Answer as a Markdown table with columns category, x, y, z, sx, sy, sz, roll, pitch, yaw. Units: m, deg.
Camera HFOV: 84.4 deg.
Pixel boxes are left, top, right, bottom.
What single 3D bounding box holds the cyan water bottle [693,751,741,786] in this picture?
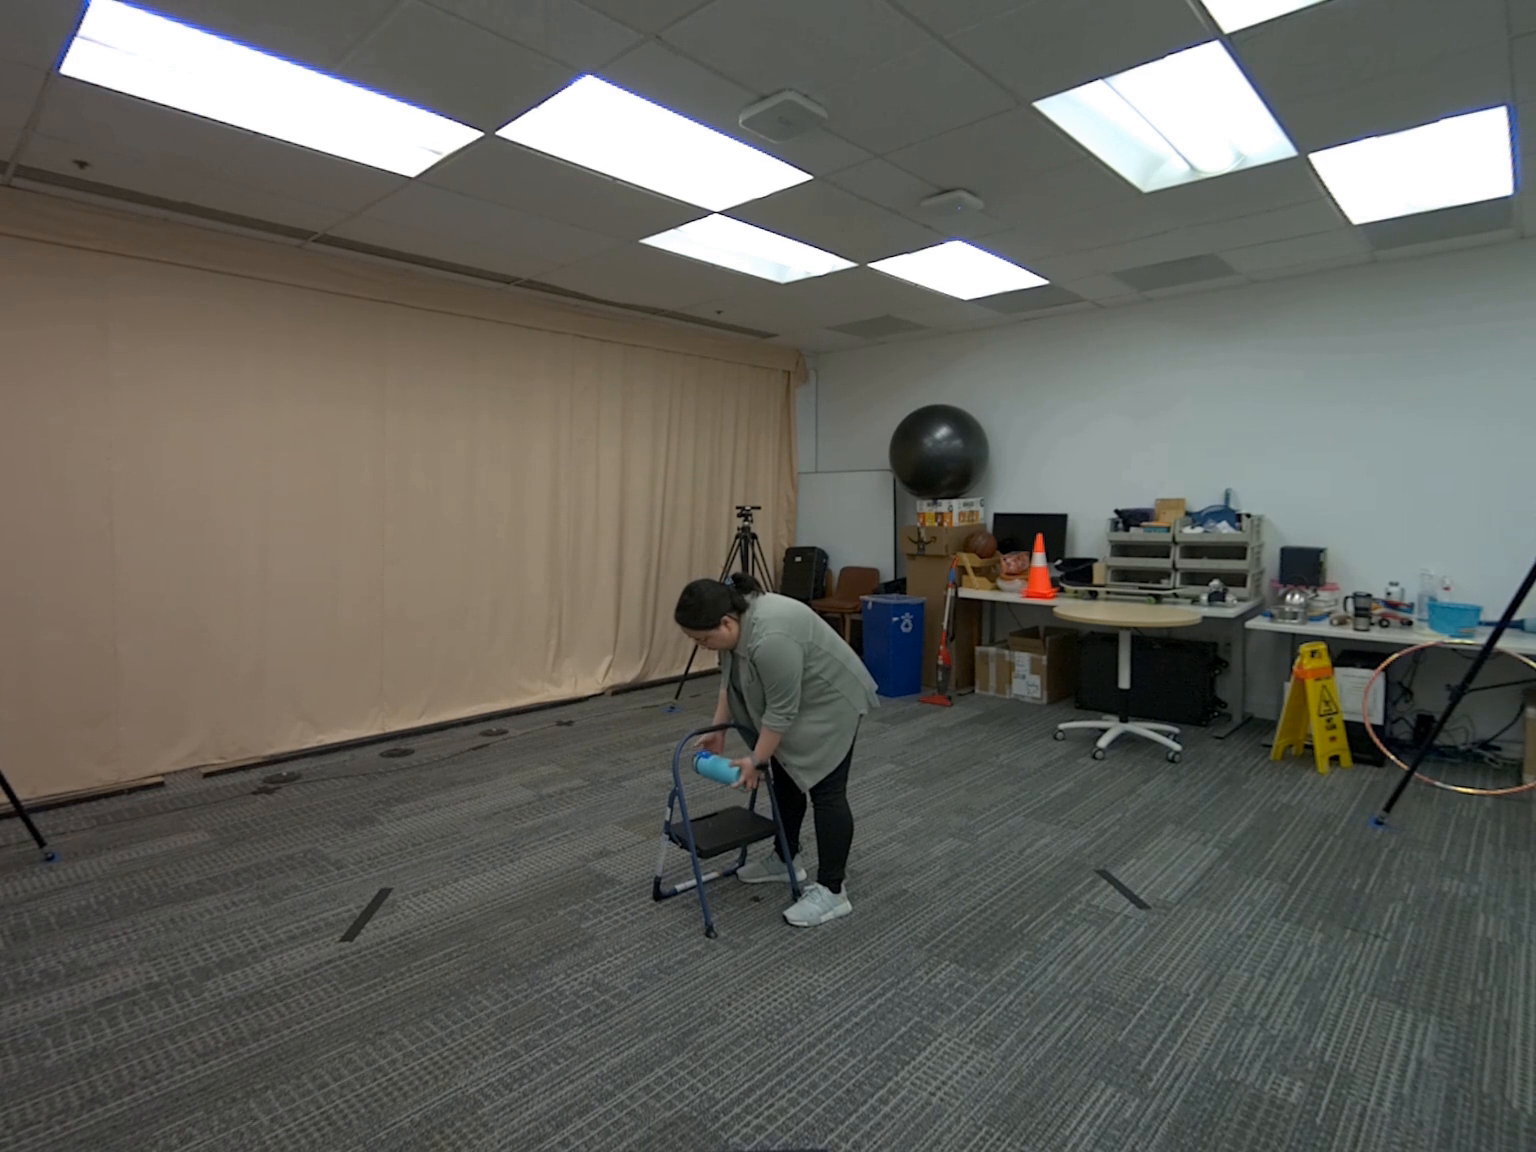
| category | x | y | z | sx | sy | sz | roll | pitch | yaw |
| --- | --- | --- | --- | --- | --- | --- | --- | --- | --- |
| cyan water bottle | -0.170 | 0.690 | 3.001 | 0.089 | 0.092 | 0.292 | -3 | 0 | -37 |
